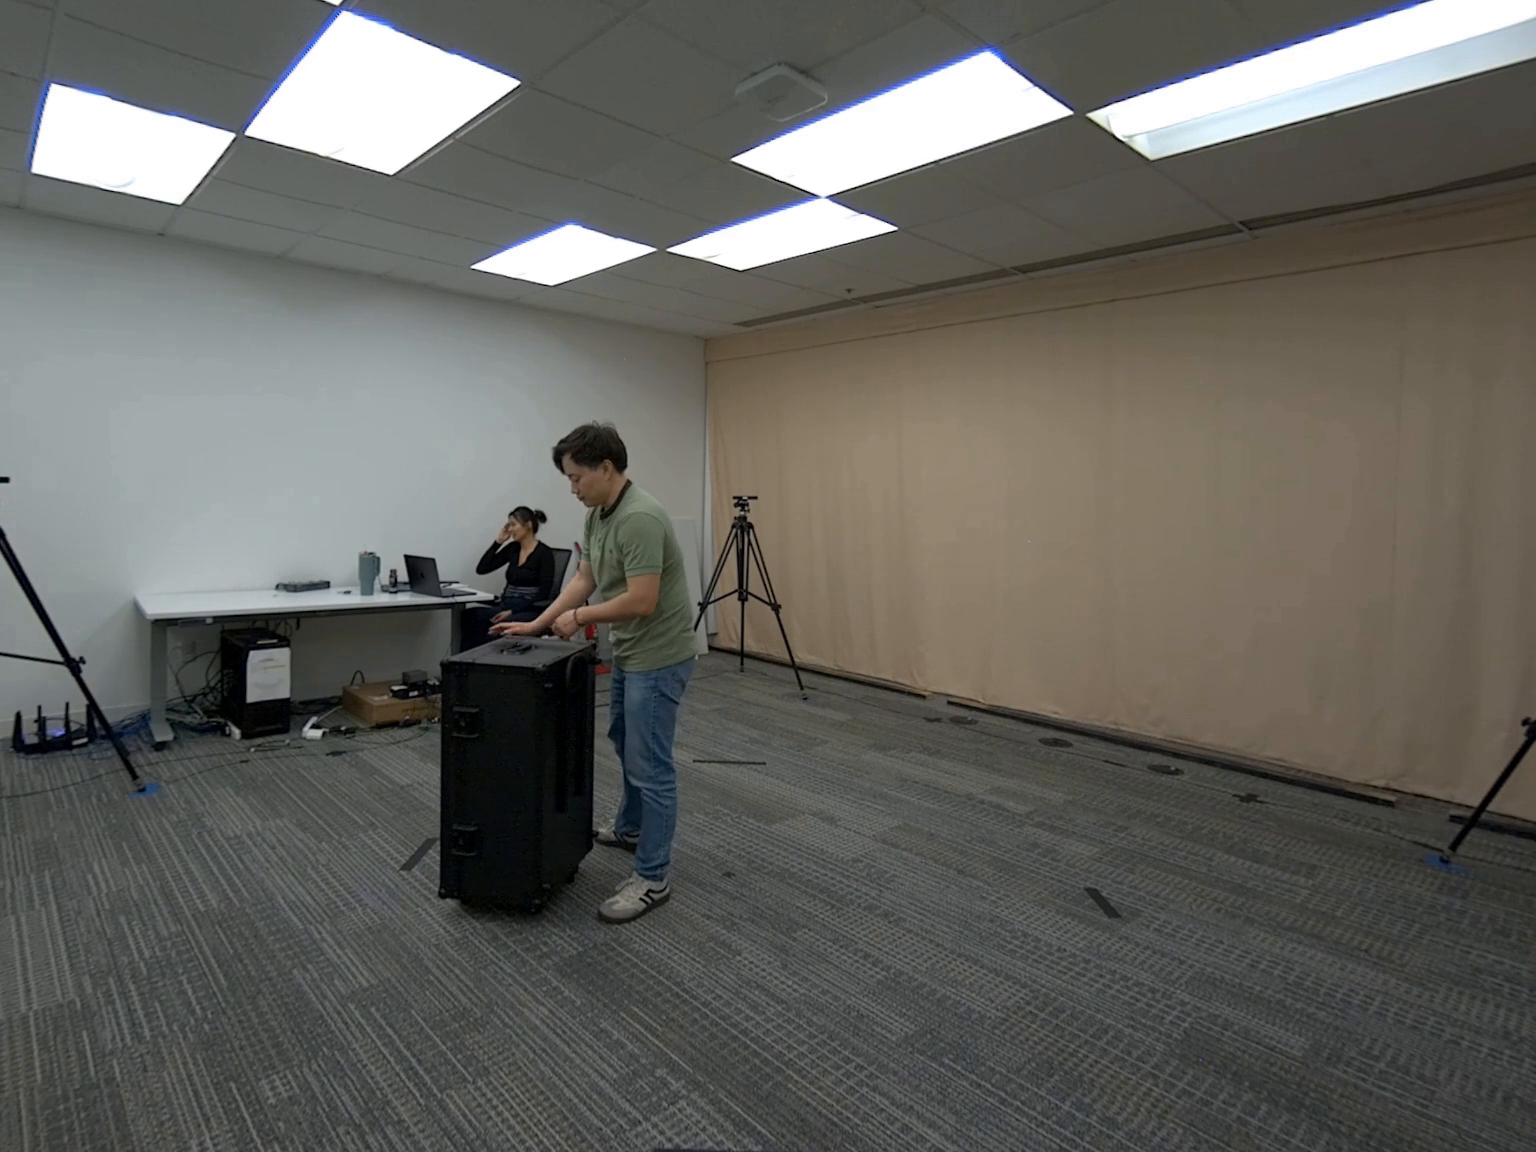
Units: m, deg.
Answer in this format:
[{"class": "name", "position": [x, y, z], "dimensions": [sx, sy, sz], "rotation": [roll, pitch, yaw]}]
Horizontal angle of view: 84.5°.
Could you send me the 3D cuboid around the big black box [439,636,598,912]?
[{"class": "big black box", "position": [-0.850, 0.684, 2.913], "dimensions": [0.400, 0.859, 0.517], "rotation": [3, 3, 10]}]
